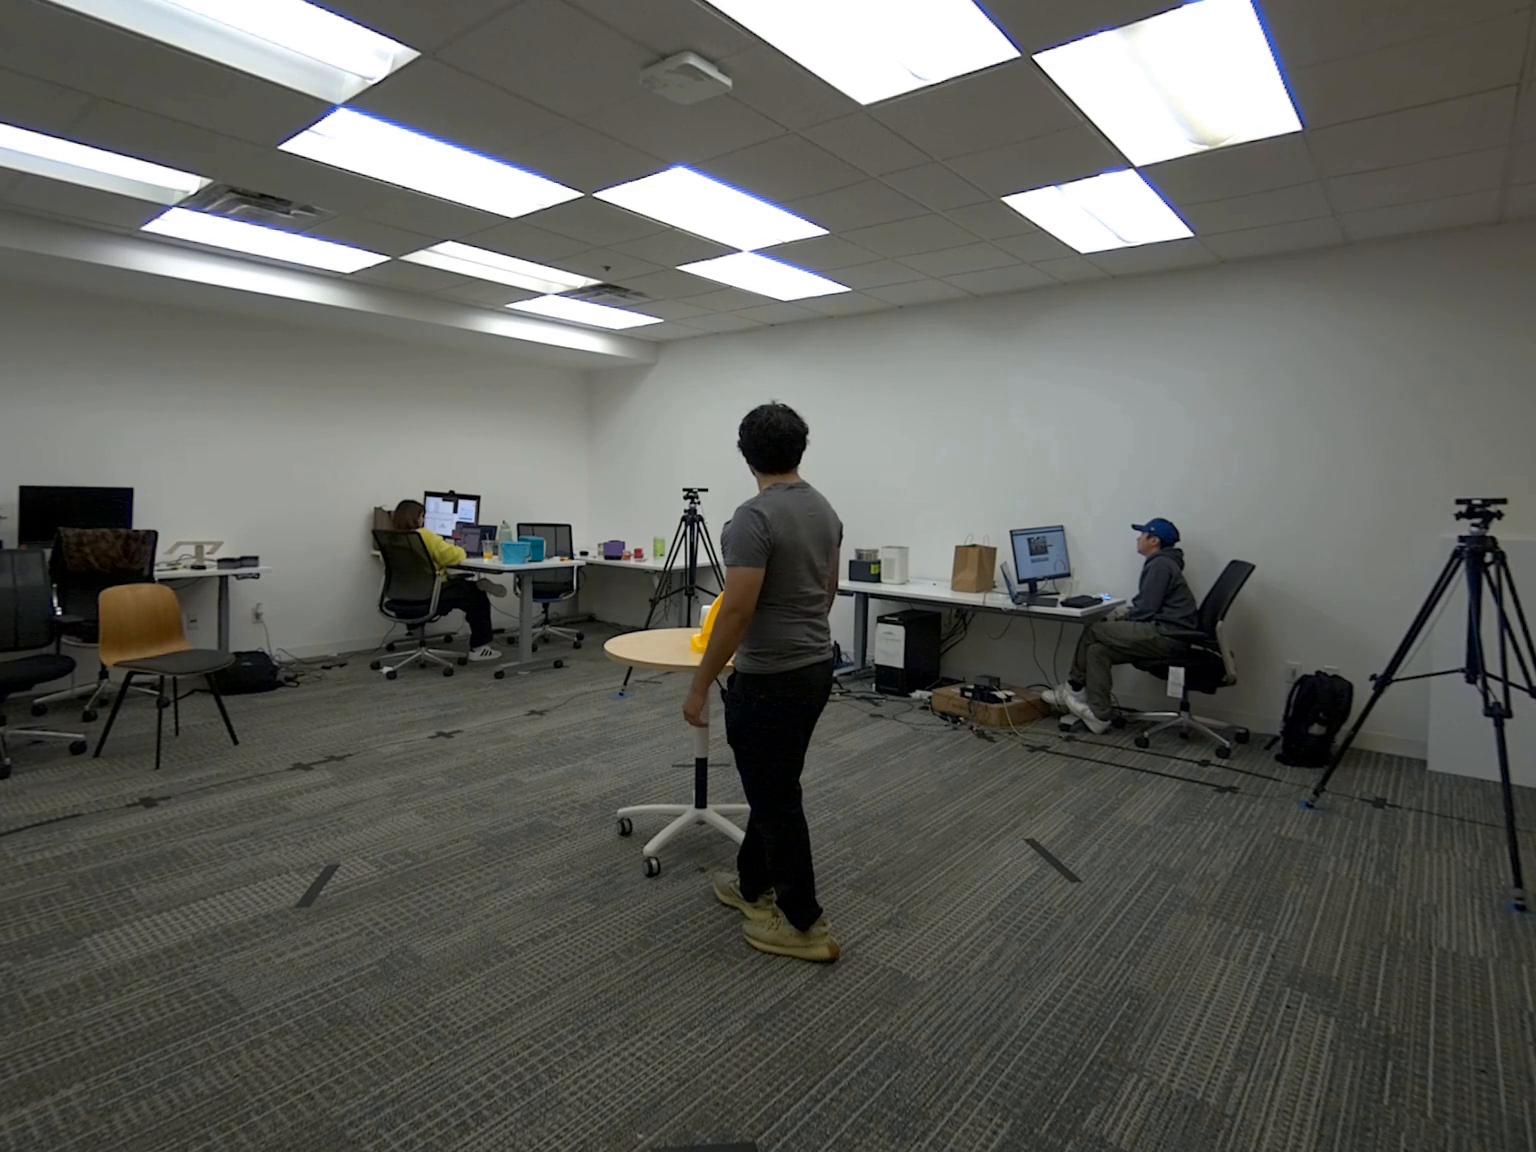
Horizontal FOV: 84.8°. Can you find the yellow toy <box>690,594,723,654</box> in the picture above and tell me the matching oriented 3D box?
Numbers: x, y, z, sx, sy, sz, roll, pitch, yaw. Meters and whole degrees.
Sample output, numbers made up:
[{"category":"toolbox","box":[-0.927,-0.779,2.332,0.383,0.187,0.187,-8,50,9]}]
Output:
[{"category":"yellow toy","box":[-0.199,0.159,3.231,0.199,0.230,0.199,-1,5,-28]}]
